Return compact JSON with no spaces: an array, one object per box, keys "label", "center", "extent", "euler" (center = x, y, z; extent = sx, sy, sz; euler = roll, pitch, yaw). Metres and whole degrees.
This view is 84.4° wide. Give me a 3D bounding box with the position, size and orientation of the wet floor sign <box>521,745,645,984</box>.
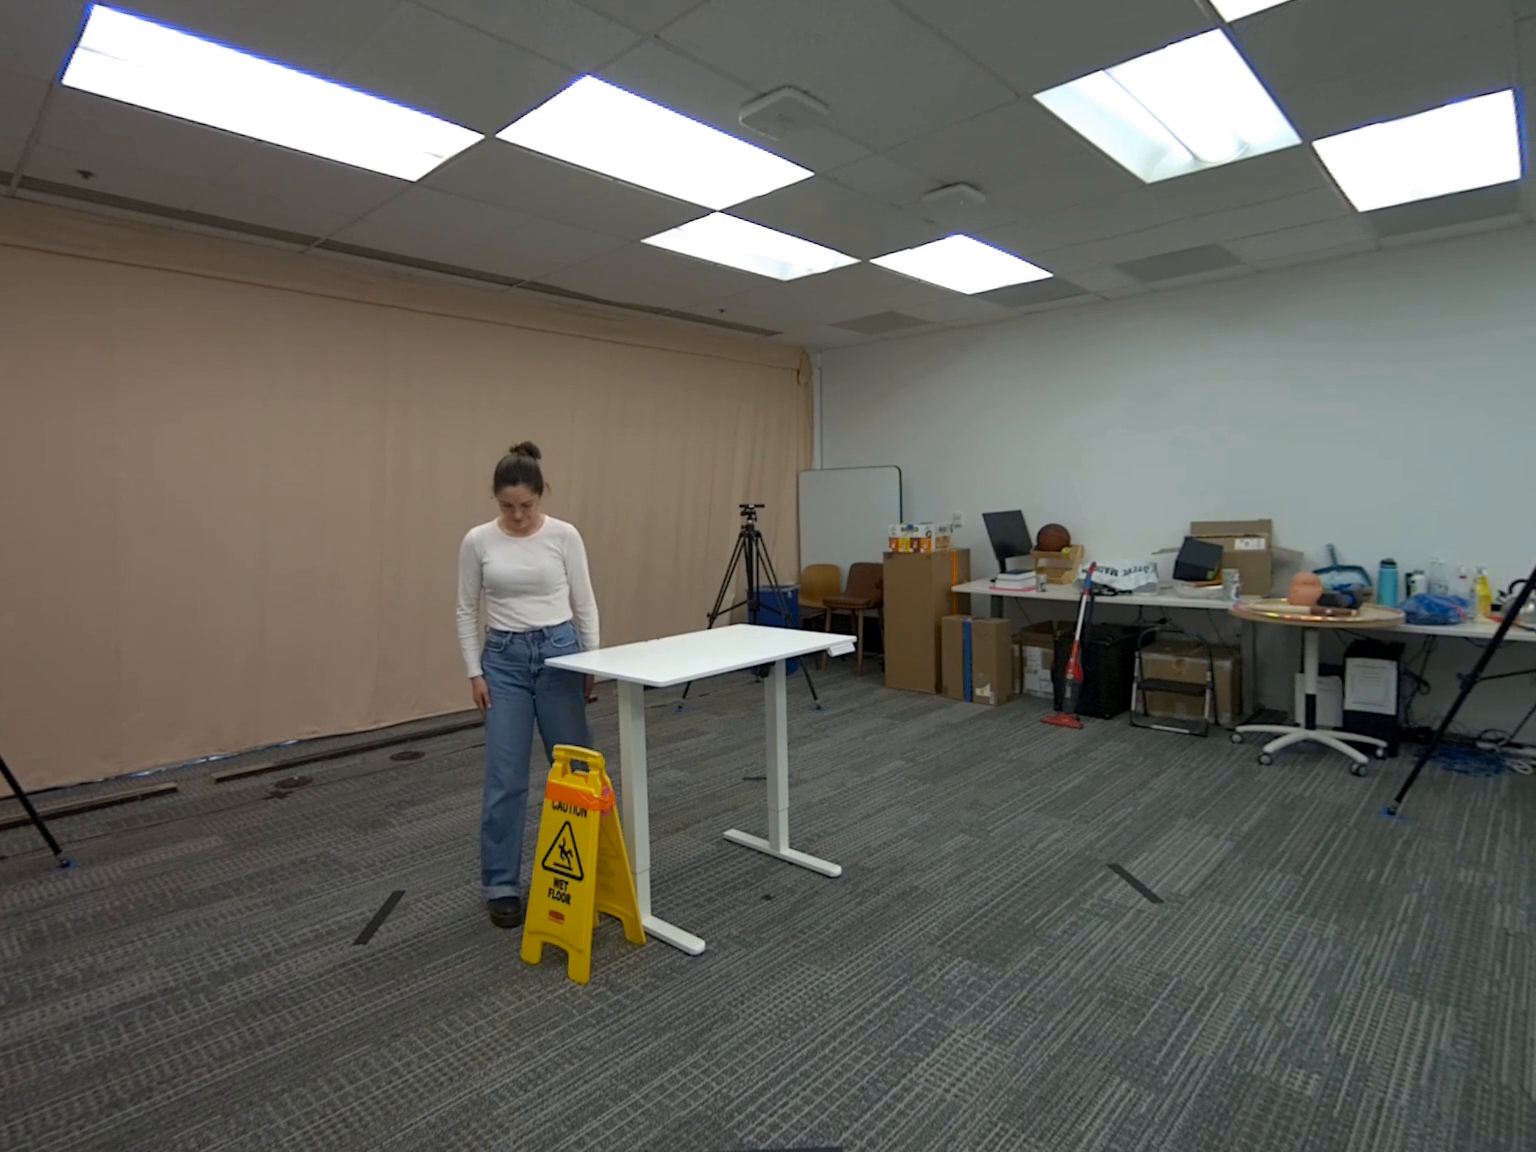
[{"label":"wet floor sign","center":[-0.586,0.860,2.626],"extent":[0.291,0.645,0.282],"euler":[-1,3,33]}]
